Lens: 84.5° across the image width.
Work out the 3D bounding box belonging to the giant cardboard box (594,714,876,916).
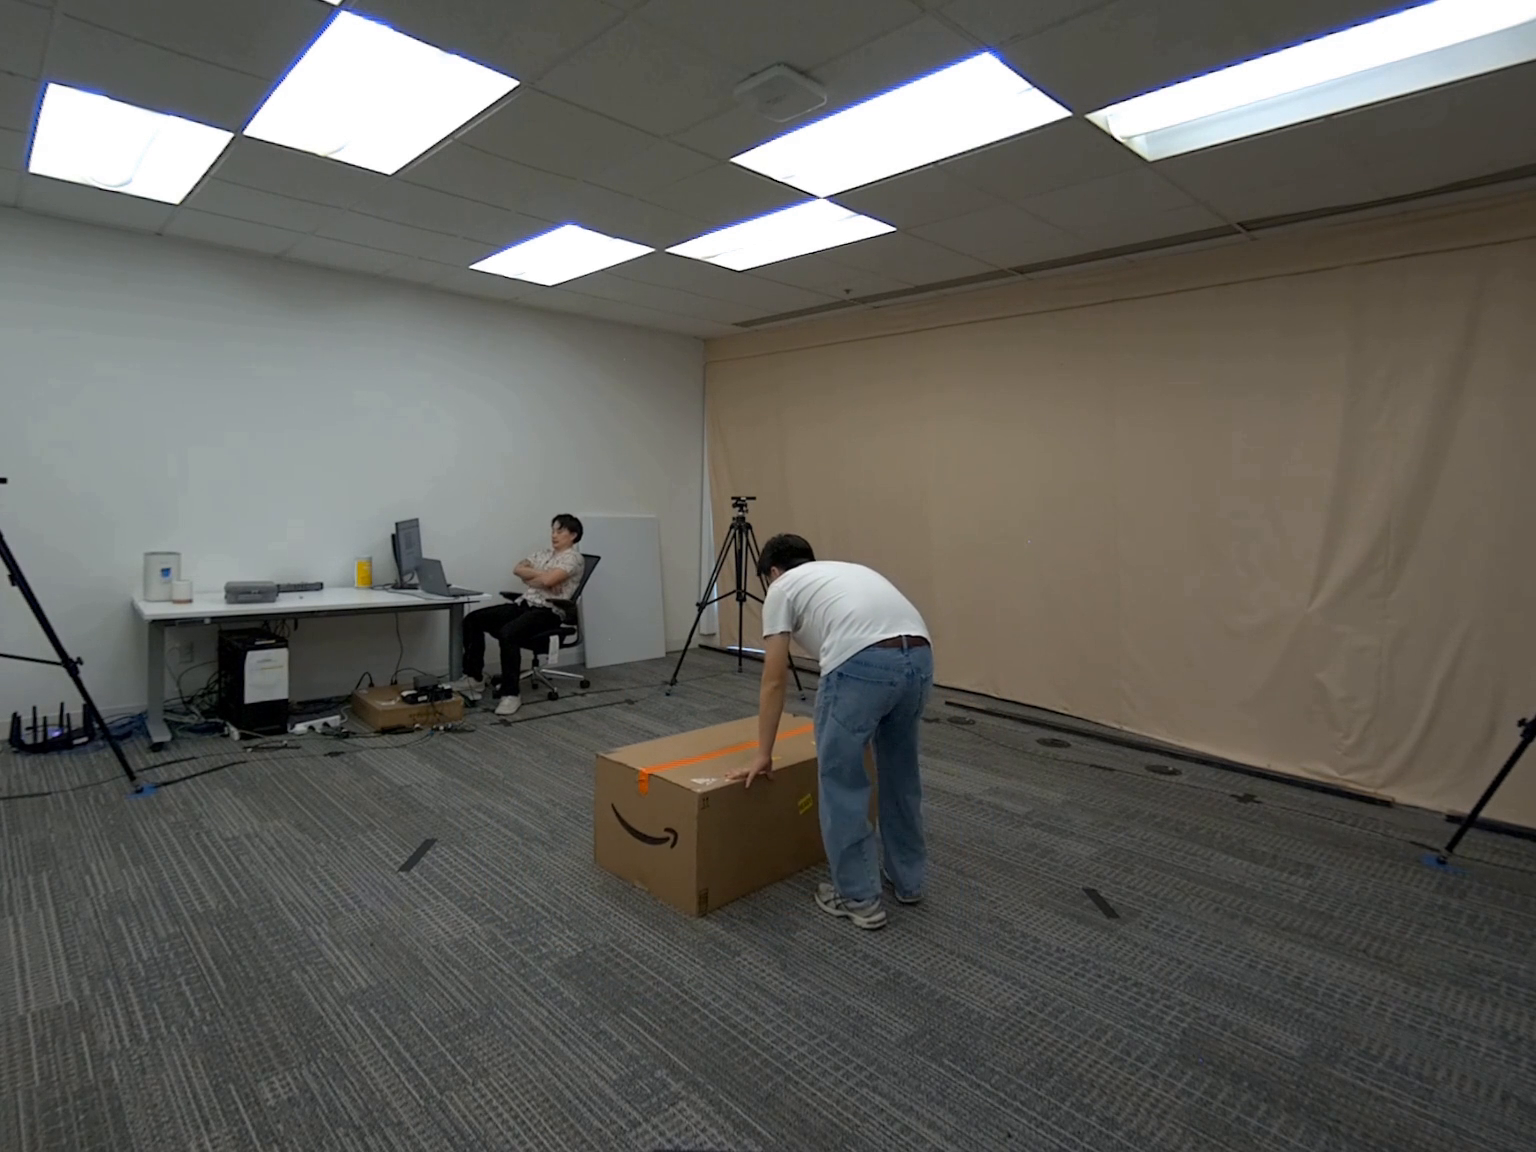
[{"bbox_3d":[-0.107,0.873,3.332,0.592,0.425,1.002,6,7,43],"label":"giant cardboard box"}]
